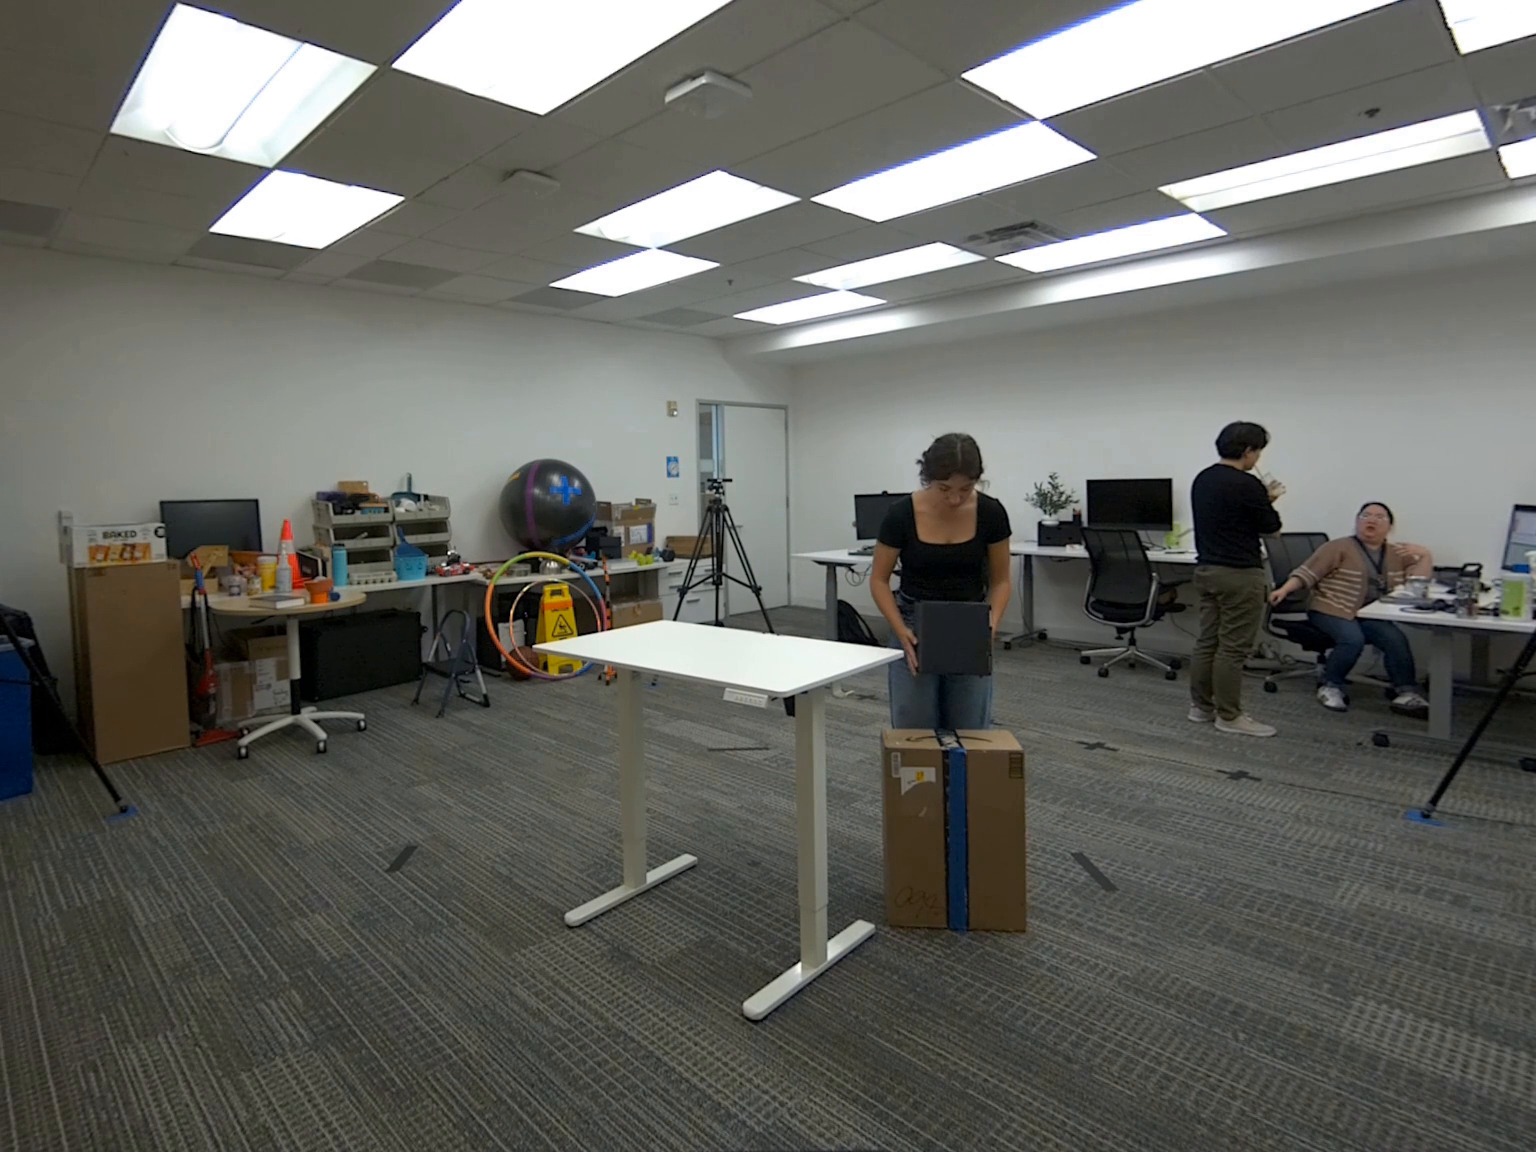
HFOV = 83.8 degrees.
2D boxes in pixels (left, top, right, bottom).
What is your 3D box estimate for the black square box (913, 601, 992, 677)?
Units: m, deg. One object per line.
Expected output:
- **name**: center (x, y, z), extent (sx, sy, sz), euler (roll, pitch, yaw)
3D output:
- **black square box**: center (0.590, 0.197, 2.758), extent (0.218, 0.228, 0.155), euler (2, 0, 4)
